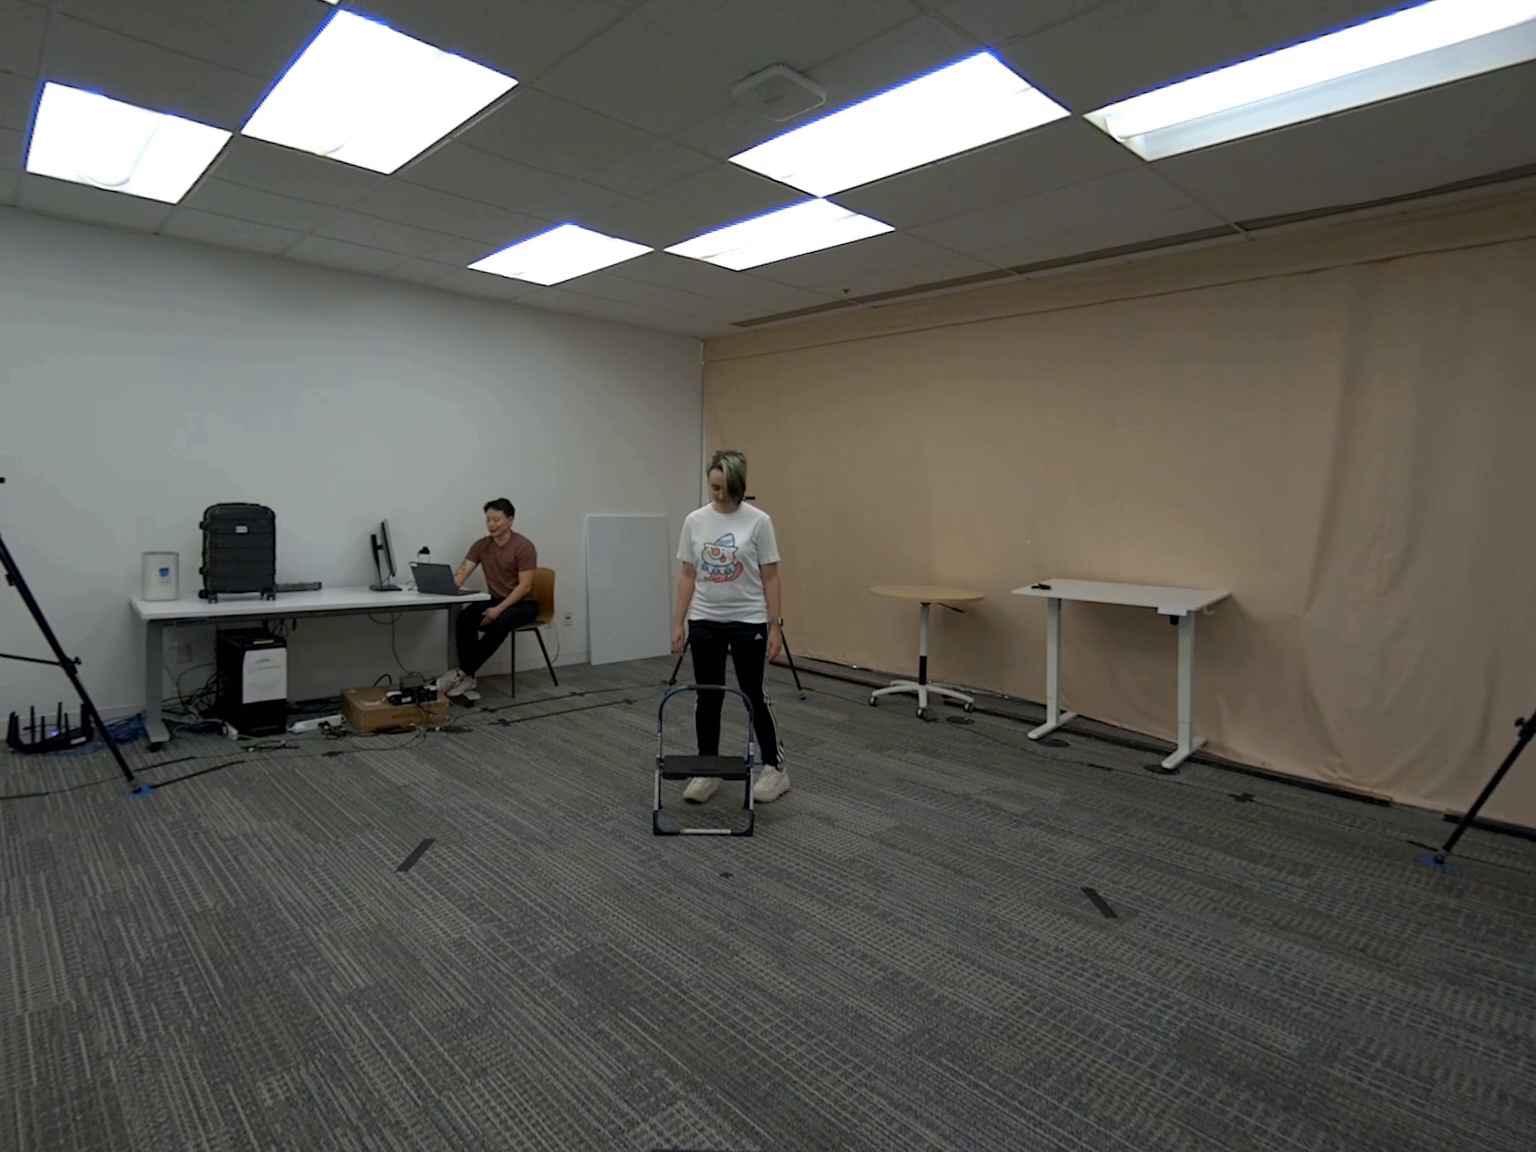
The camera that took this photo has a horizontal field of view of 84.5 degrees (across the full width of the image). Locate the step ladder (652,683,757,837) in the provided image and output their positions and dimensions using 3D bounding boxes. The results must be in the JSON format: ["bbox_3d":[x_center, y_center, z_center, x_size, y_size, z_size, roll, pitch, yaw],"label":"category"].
[{"bbox_3d":[-0.284,0.760,3.613,0.429,0.604,0.351,2,4,-3],"label":"step ladder"}]
